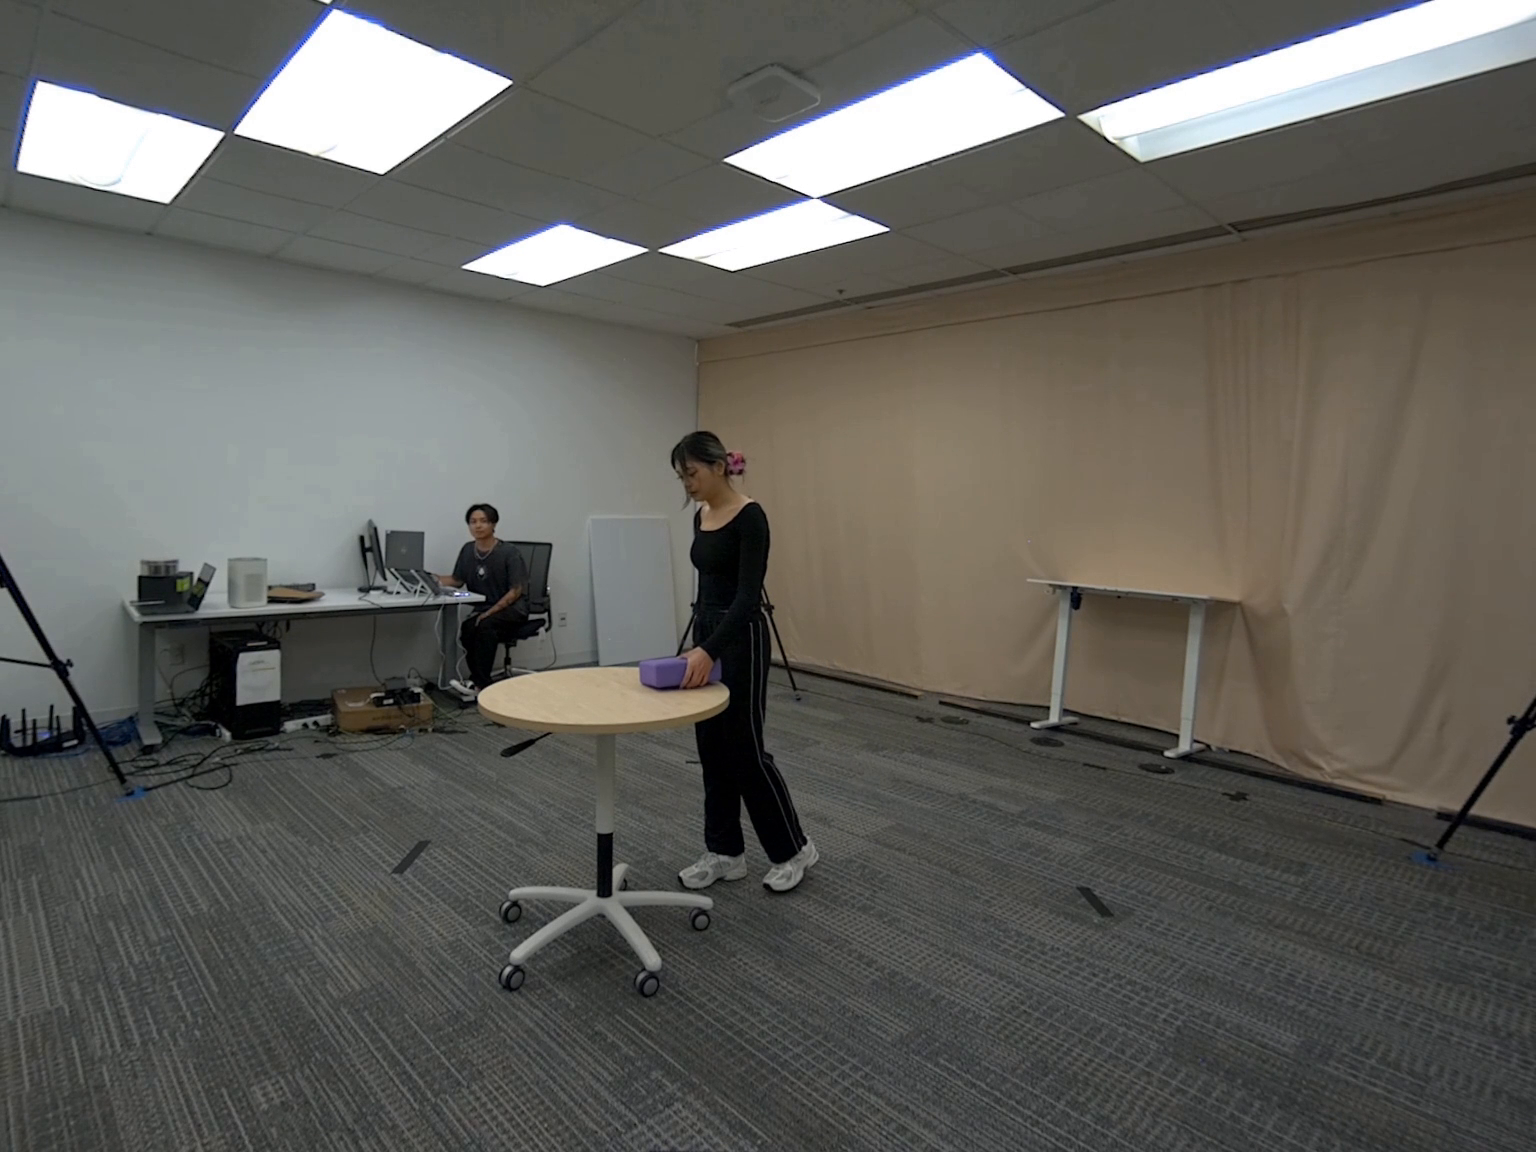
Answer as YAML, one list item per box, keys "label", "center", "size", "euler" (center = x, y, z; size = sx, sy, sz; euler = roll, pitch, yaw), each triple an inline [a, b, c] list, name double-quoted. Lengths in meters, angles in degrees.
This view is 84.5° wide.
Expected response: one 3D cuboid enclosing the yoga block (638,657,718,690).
- label: "yoga block"
  center: [-0.292, 0.309, 2.702]
  size: [0.225, 0.076, 0.151]
  euler: [-2, -1, -27]
